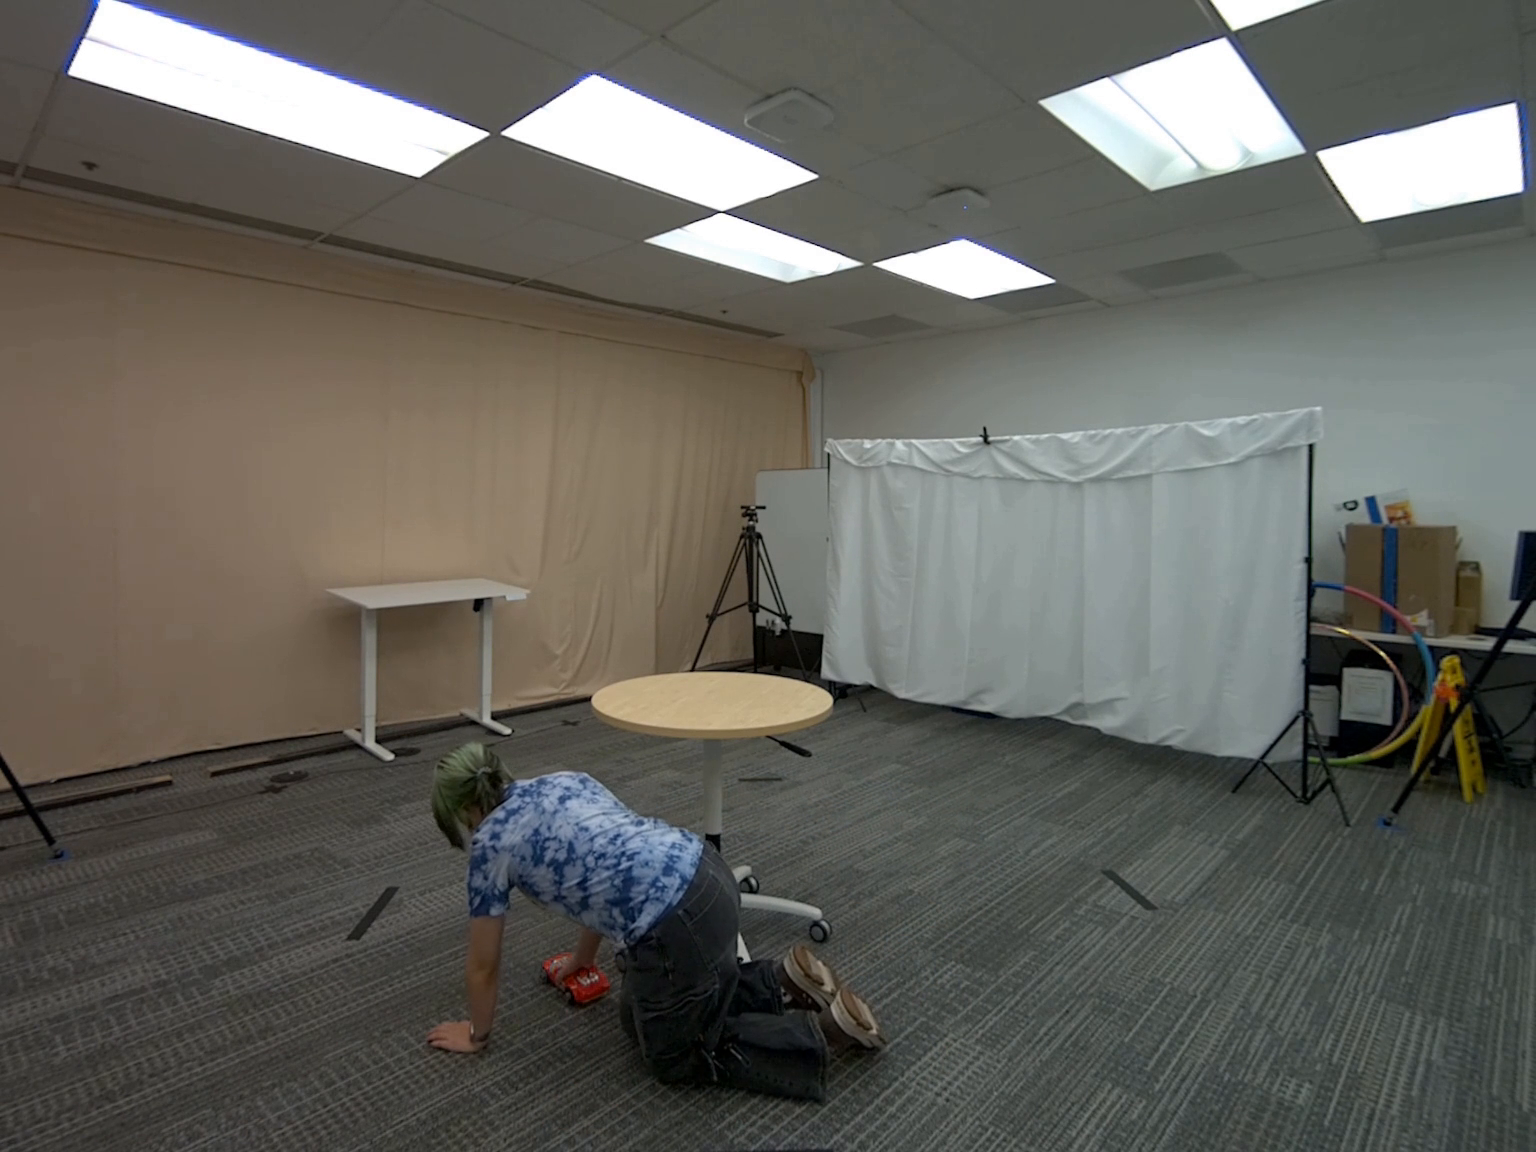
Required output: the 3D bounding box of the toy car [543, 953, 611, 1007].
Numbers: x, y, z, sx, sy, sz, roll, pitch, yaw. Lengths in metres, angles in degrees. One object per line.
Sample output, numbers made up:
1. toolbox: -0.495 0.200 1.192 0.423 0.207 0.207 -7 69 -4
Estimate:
1. toy car: -0.556 1.170 2.417 0.126 0.083 0.261 -5 -3 -41
